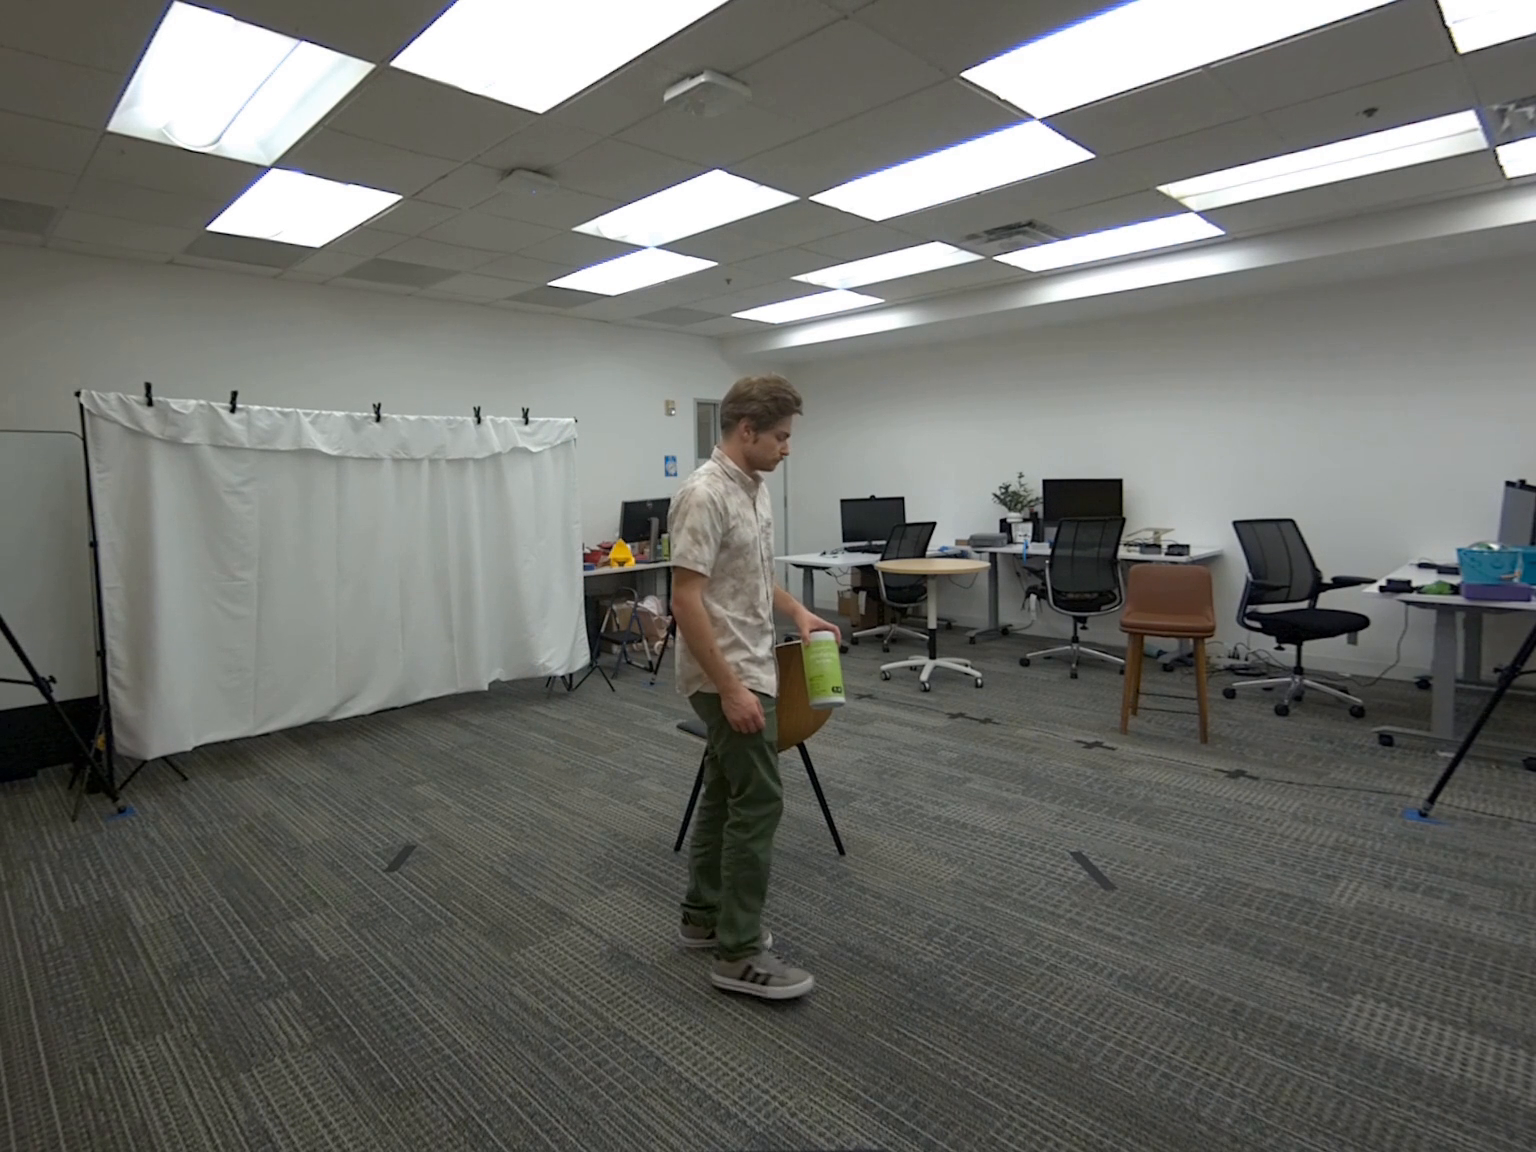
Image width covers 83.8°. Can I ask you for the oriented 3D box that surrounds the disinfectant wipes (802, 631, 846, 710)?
[{"bbox_3d":[0.154,0.285,2.551,0.117,0.221,0.116,-6,-19,-4],"label":"disinfectant wipes"}]
